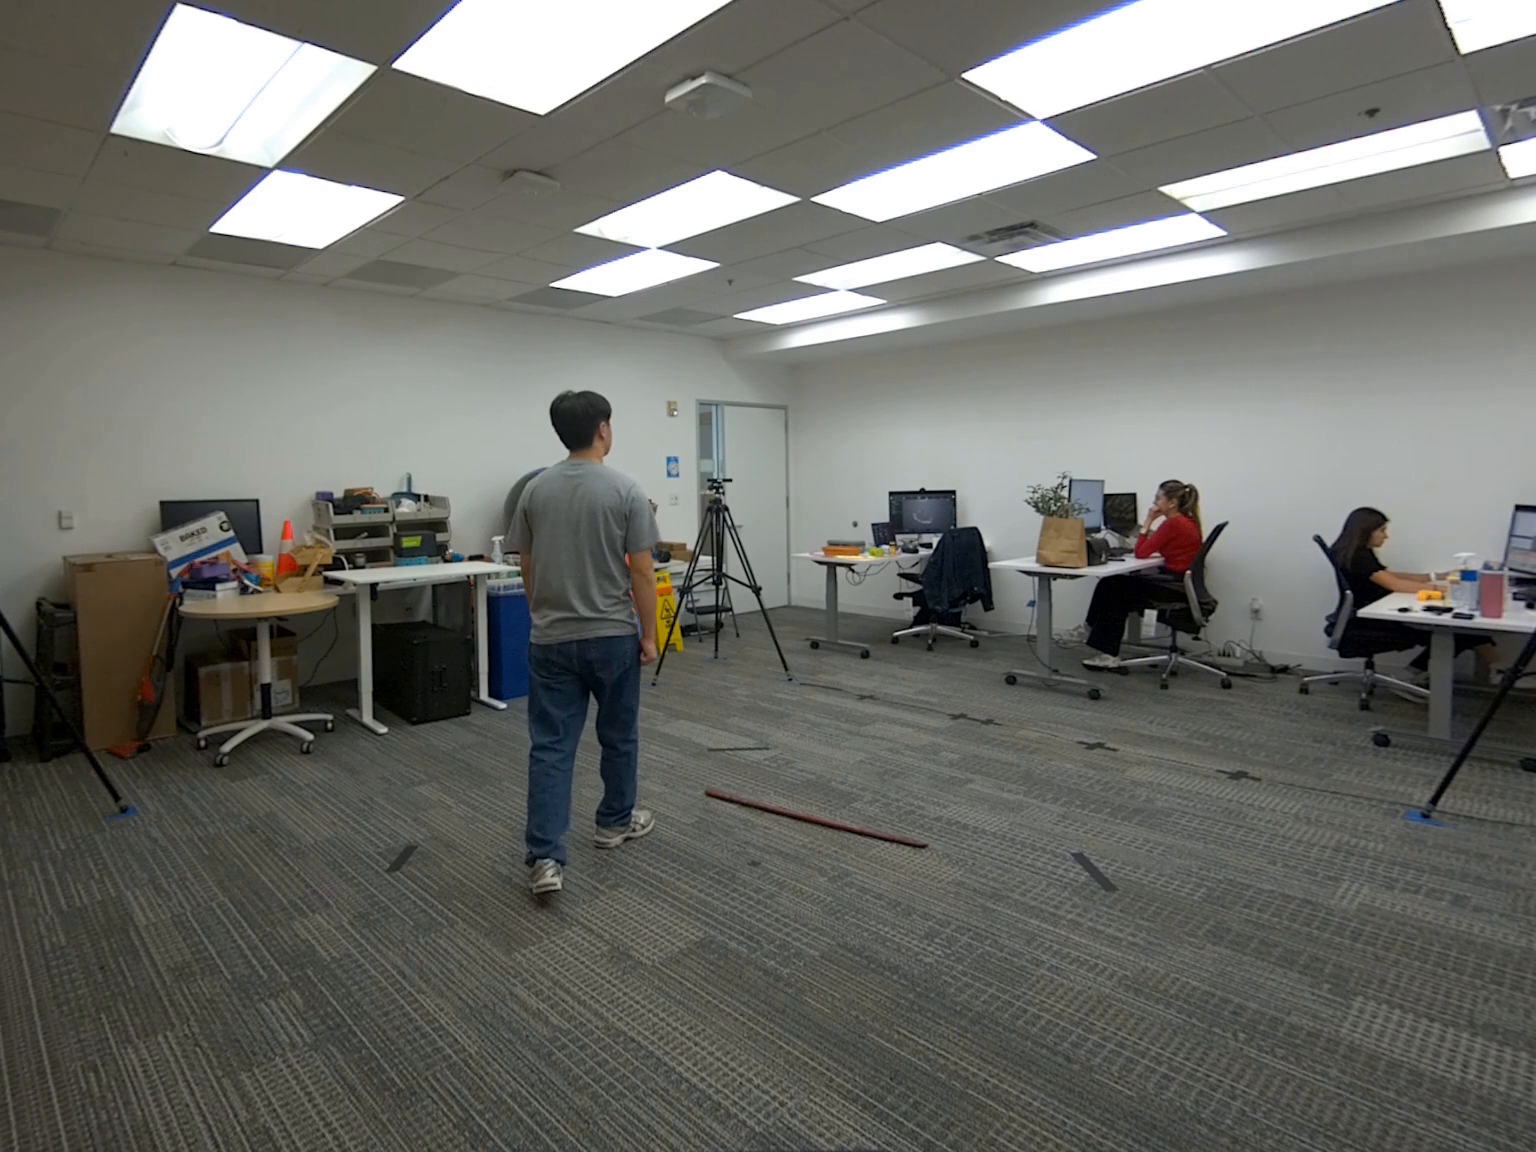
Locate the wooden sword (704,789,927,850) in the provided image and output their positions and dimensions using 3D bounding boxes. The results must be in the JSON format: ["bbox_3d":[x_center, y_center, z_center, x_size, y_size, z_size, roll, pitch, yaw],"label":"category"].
[{"bbox_3d":[0.155,0.967,3.472,1.054,0.023,0.051,3,29,36],"label":"wooden sword"}]
